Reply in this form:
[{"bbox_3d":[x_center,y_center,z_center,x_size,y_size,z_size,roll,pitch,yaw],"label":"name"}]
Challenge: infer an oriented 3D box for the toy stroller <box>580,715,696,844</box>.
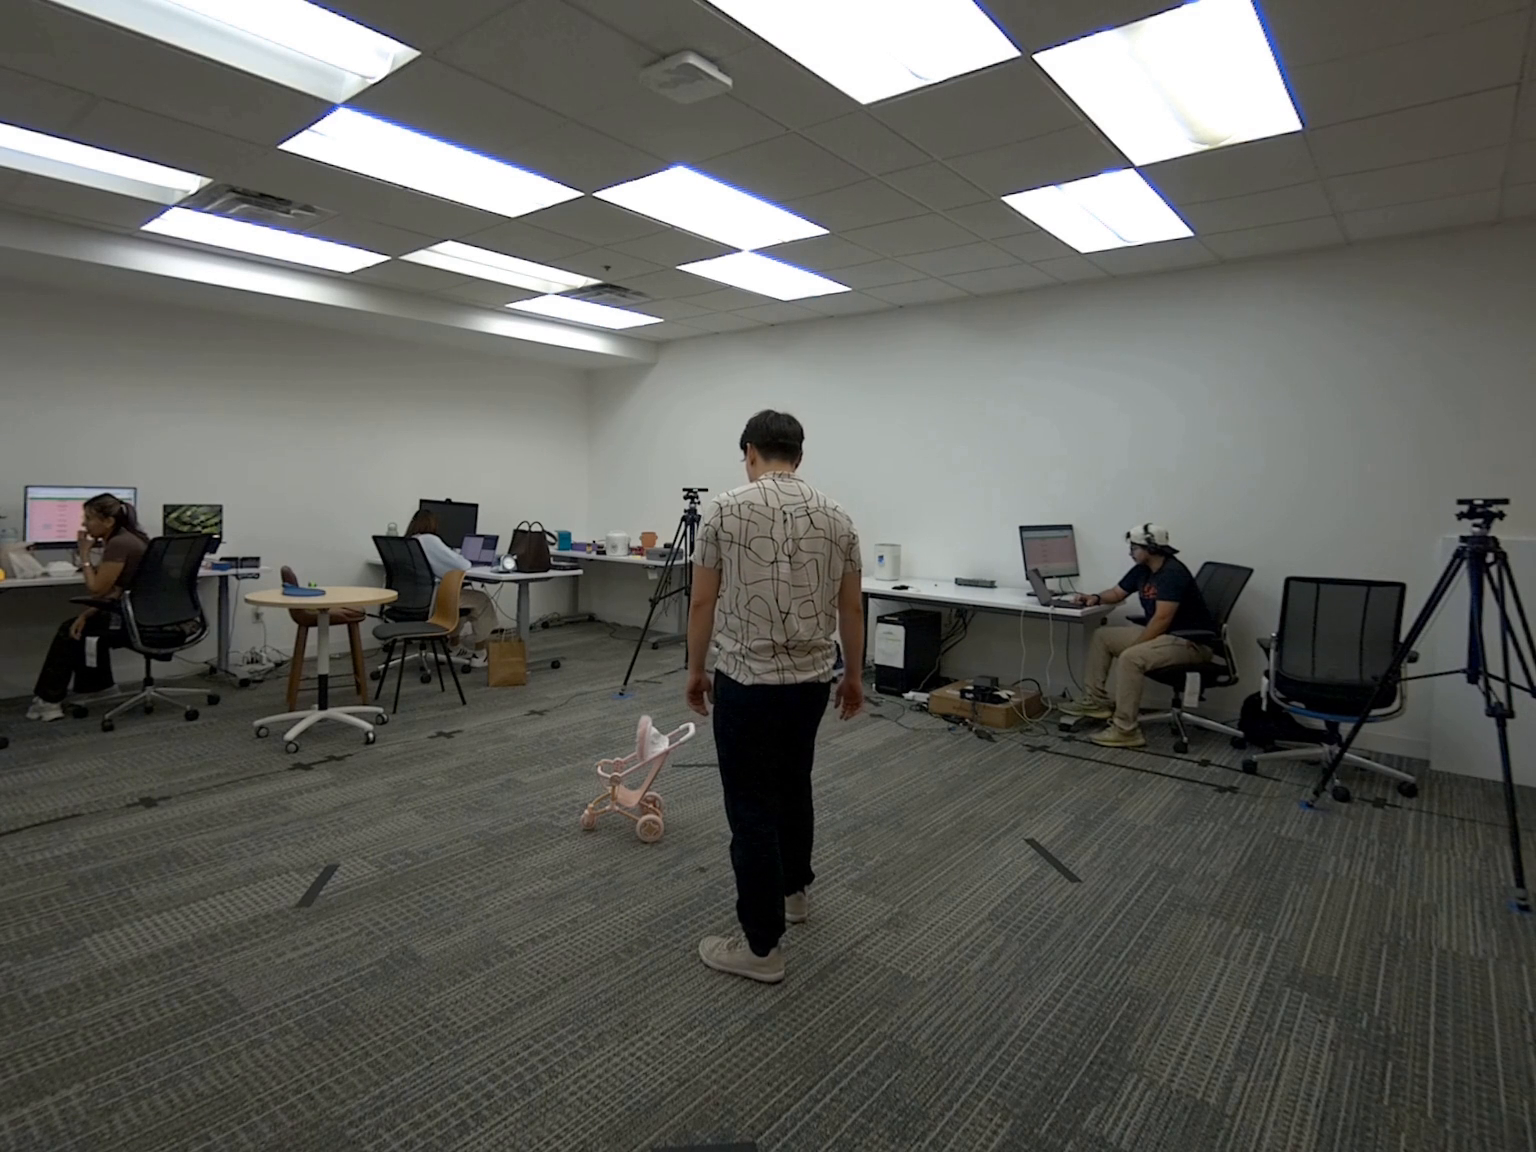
[{"bbox_3d":[-0.547,0.808,3.455,0.341,0.534,0.282,18,2,-1],"label":"toy stroller"}]
